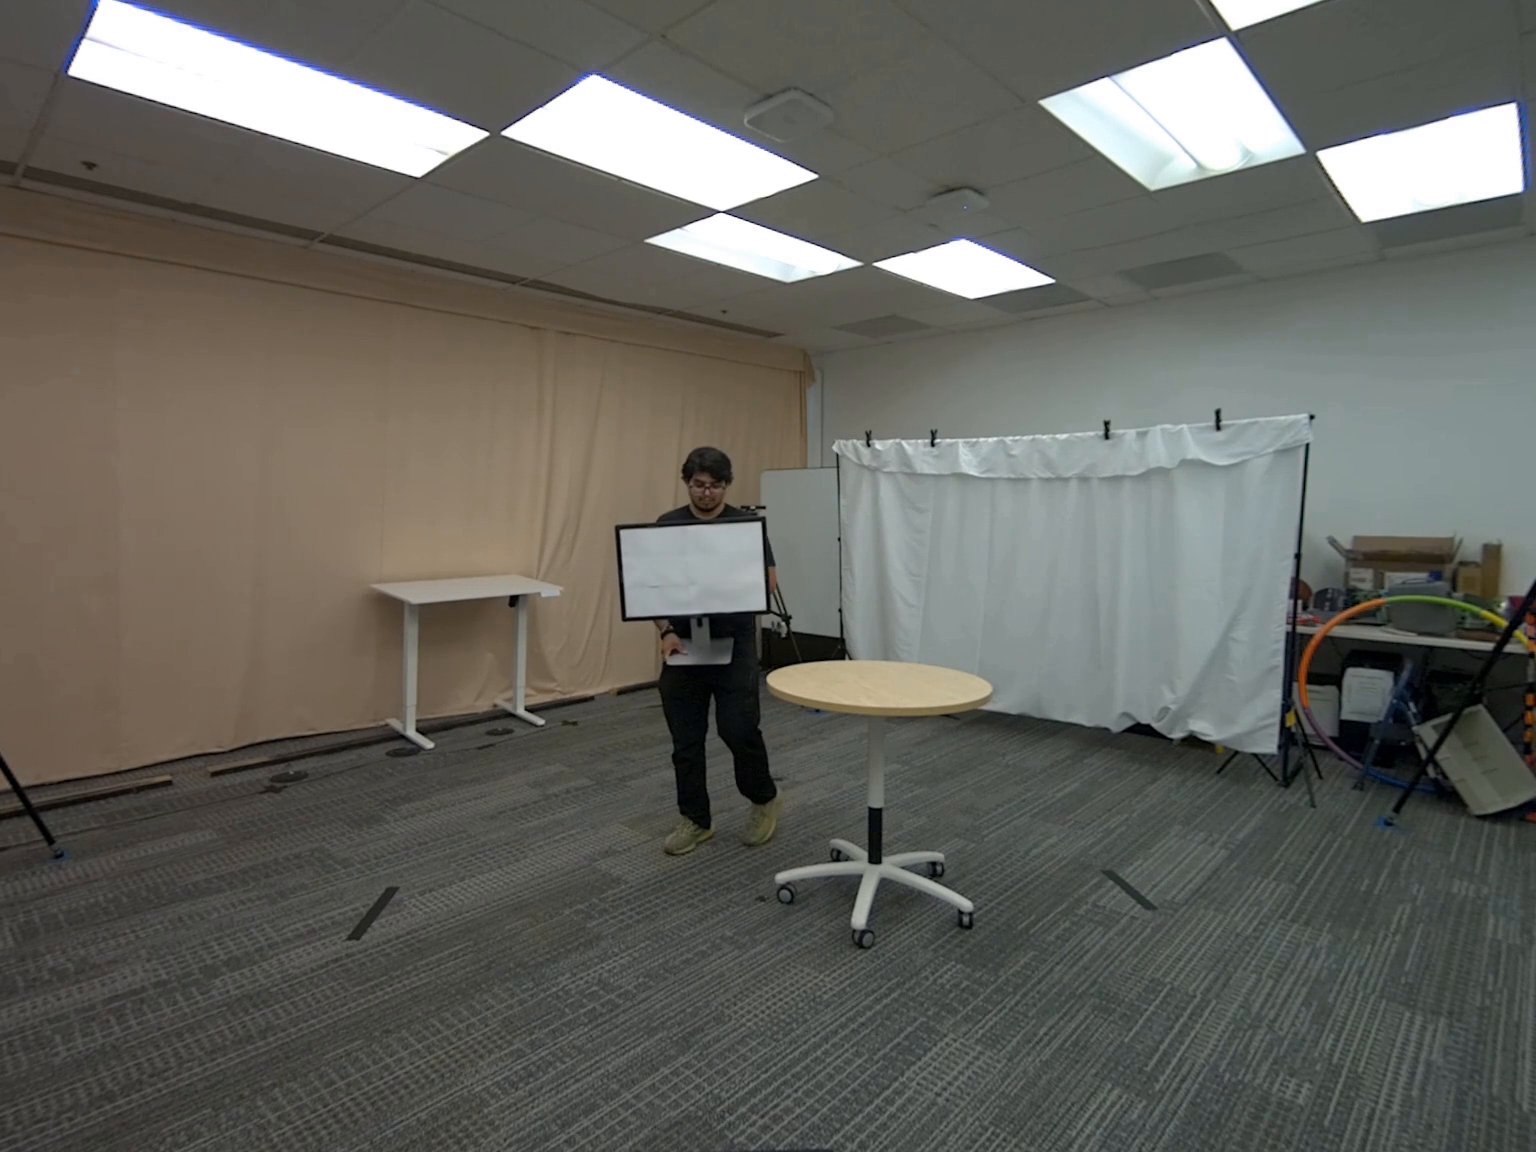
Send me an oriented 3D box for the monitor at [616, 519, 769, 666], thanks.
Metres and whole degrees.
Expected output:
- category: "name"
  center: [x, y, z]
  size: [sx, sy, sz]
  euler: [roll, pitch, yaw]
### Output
- category: "monitor"
  center: [-0.271, 0.045, 3.206]
  size: [0.567, 0.549, 0.211]
  euler: [-2, 13, 3]
